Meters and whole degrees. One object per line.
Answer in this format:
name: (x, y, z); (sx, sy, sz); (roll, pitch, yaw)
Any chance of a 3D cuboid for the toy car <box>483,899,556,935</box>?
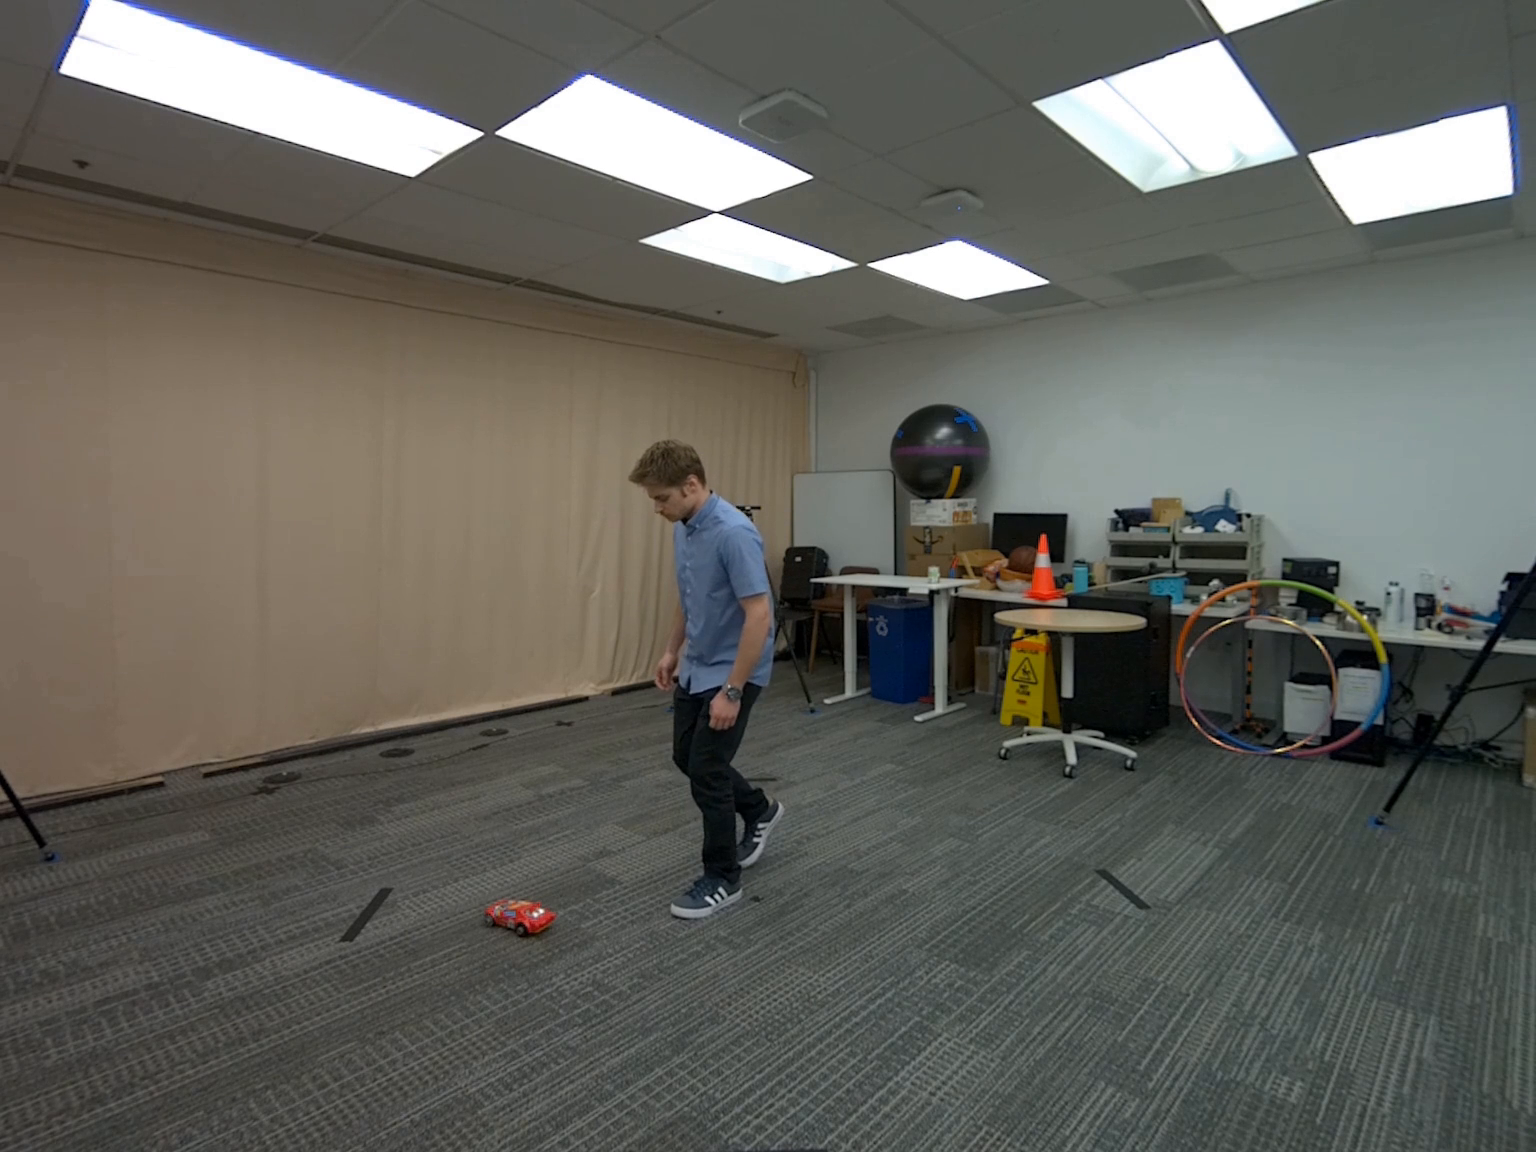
toy car: (-0.821, 1.136, 2.788); (0.260, 0.083, 0.127); (-11, 0, 27)
